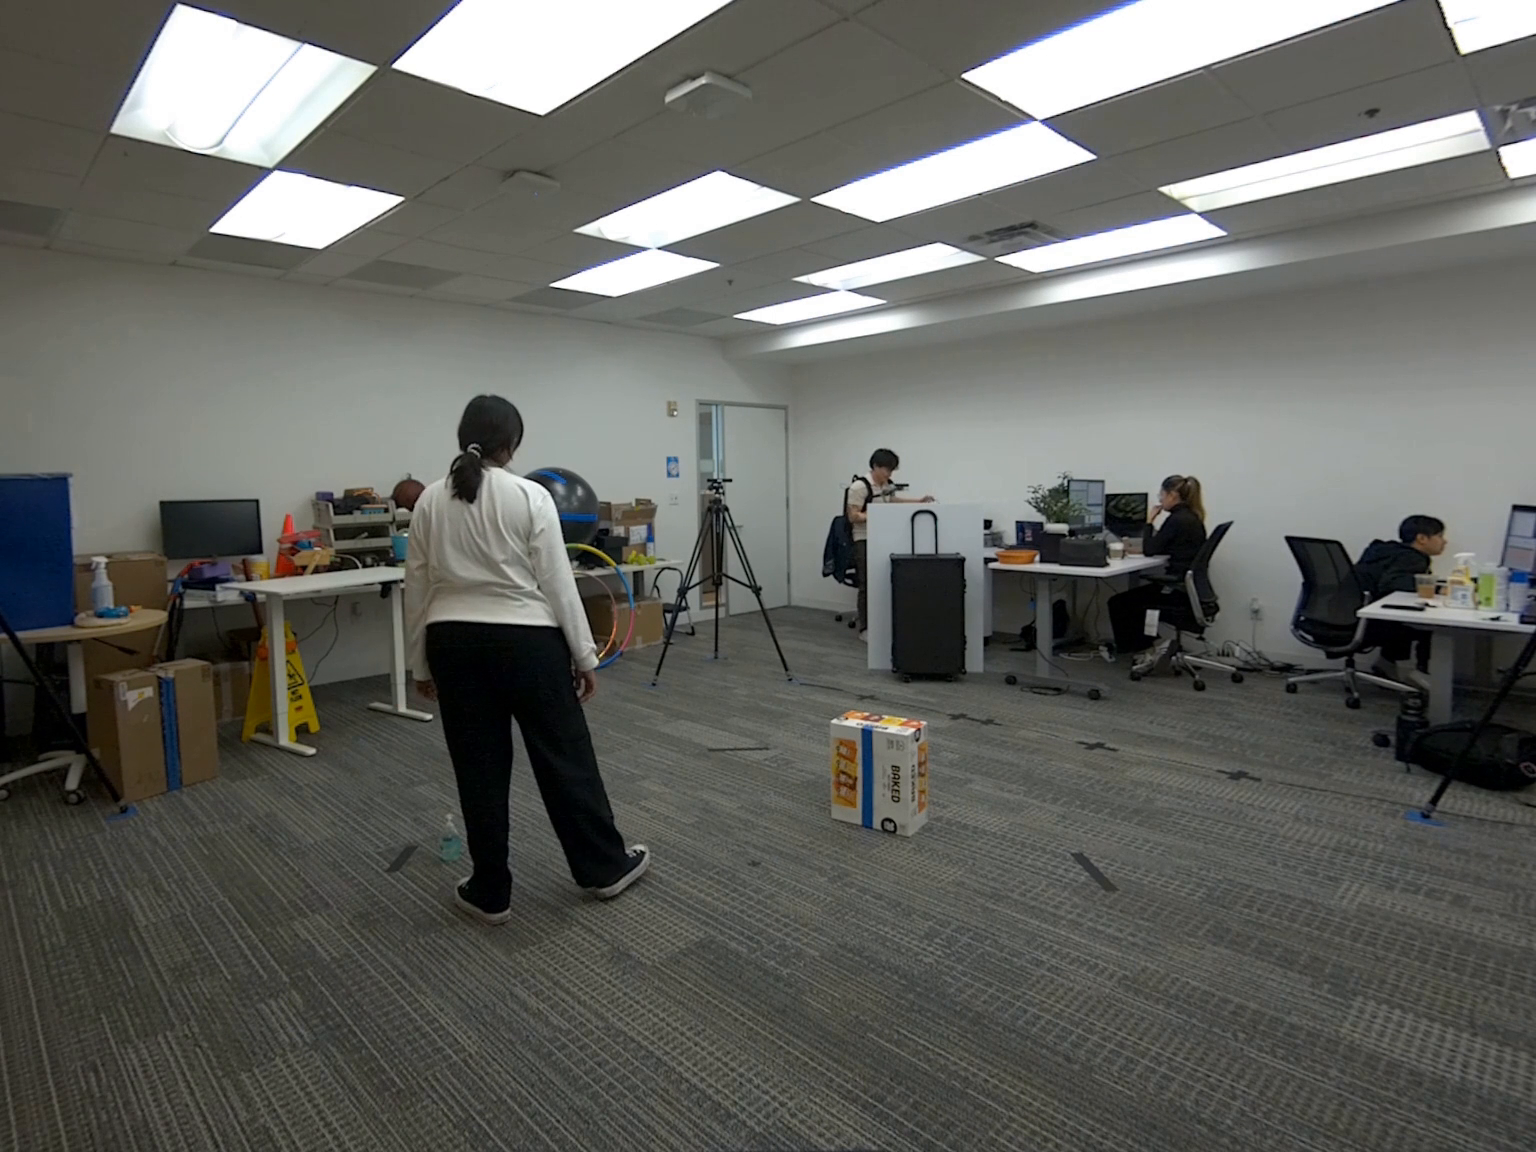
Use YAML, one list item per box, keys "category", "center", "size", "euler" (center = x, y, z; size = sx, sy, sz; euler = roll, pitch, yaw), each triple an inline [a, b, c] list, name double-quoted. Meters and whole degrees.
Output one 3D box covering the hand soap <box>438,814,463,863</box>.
- category: "hand soap"
  center: [-1.186, 0.975, 3.197]
  size: [0.085, 0.167, 0.043]
  euler: [2, 4, 6]
